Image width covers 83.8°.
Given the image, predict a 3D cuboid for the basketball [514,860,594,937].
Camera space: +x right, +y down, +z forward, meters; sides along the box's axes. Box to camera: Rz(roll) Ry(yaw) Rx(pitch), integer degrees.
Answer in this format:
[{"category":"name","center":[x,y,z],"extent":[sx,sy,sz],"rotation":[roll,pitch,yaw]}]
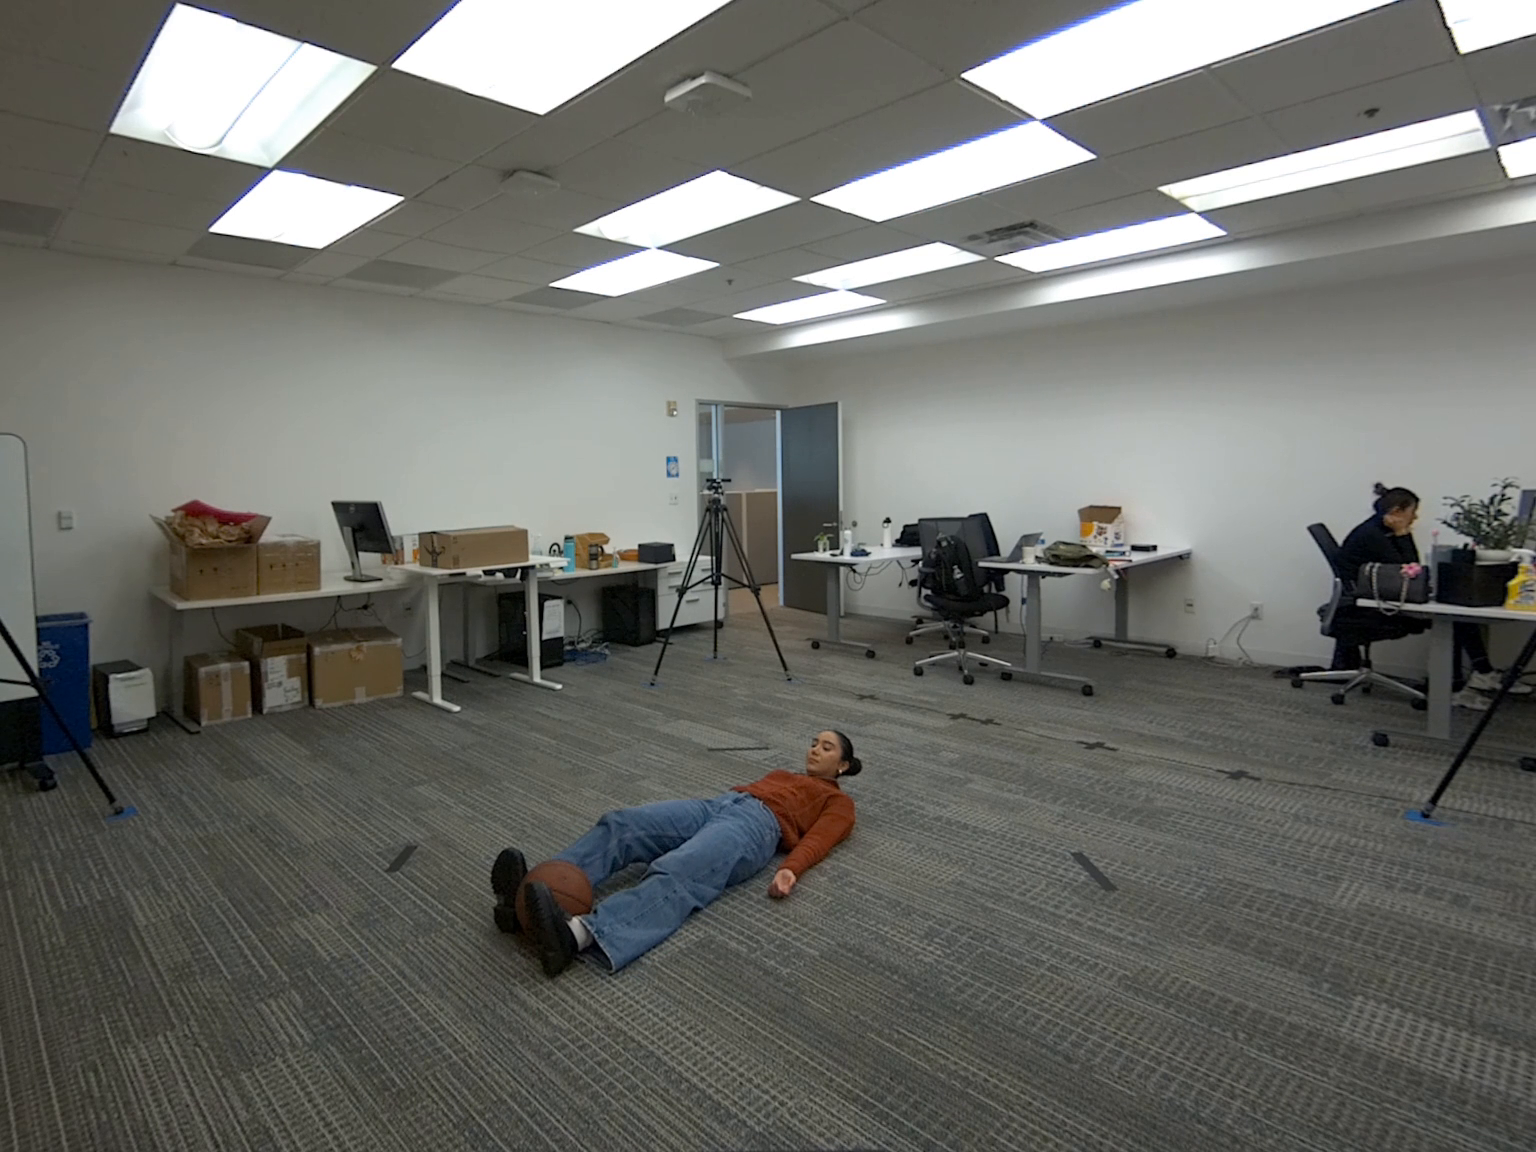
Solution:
[{"category":"basketball","center":[-0.653,1.000,2.616],"extent":[0.236,0.235,0.237],"rotation":[-1,5,-2]}]
